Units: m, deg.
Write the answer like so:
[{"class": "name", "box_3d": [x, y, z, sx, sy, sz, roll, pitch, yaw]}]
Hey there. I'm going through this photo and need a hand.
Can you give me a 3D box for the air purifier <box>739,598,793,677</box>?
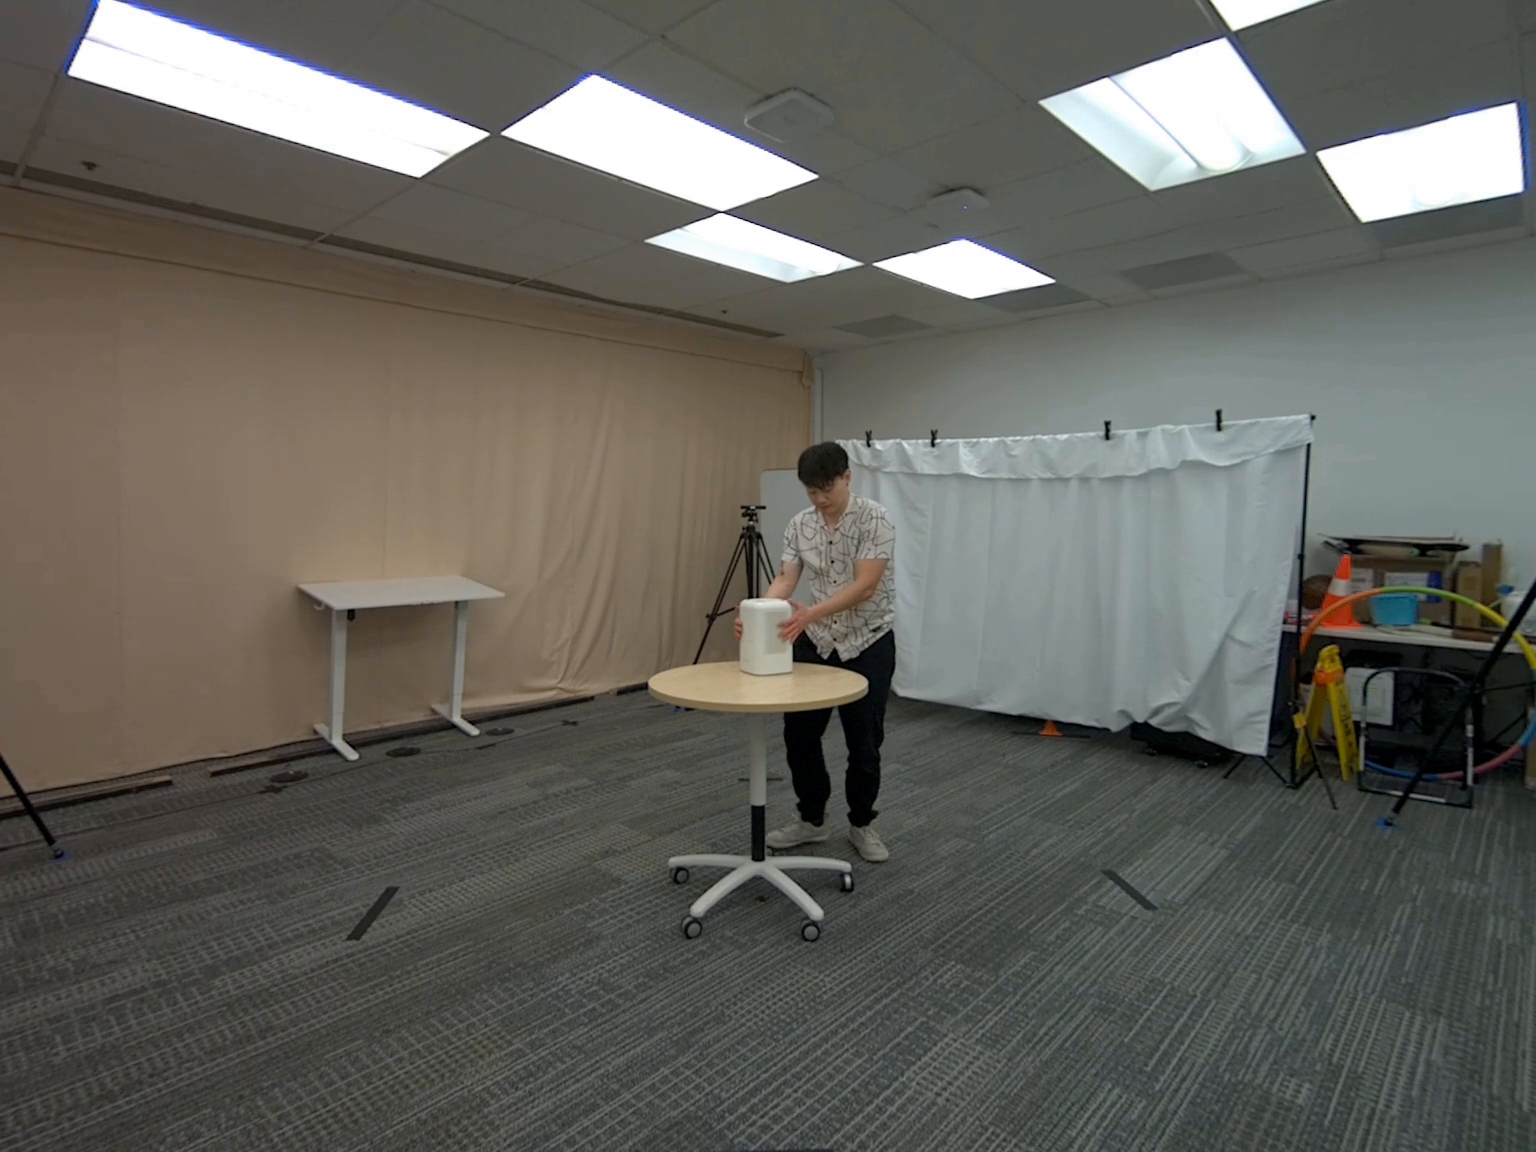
[{"class": "air purifier", "box_3d": [-0.007, 0.220, 3.113, 0.167, 0.265, 0.176, -2, 2, -28]}]
